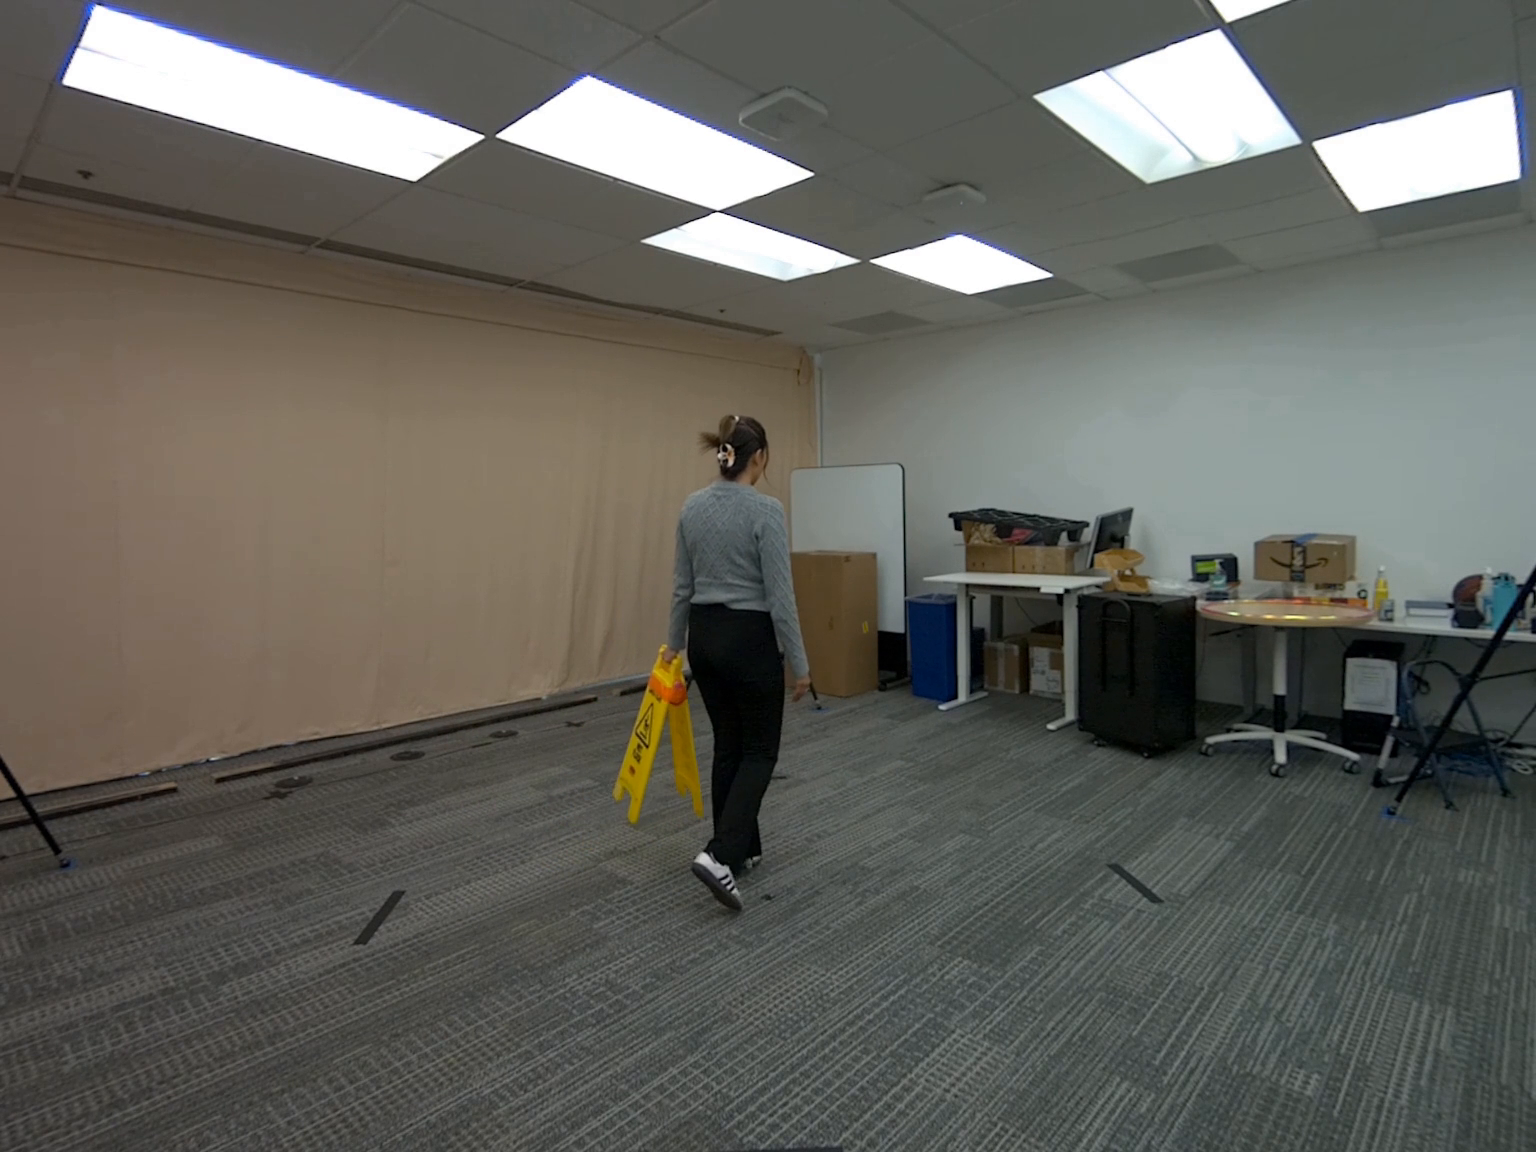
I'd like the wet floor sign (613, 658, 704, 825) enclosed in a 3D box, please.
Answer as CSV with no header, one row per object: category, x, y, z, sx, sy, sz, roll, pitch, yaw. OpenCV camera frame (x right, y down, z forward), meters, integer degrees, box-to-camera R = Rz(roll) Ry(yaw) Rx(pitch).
wet floor sign,-0.408,0.608,3.346,0.282,0.643,0.290,3,8,-25
